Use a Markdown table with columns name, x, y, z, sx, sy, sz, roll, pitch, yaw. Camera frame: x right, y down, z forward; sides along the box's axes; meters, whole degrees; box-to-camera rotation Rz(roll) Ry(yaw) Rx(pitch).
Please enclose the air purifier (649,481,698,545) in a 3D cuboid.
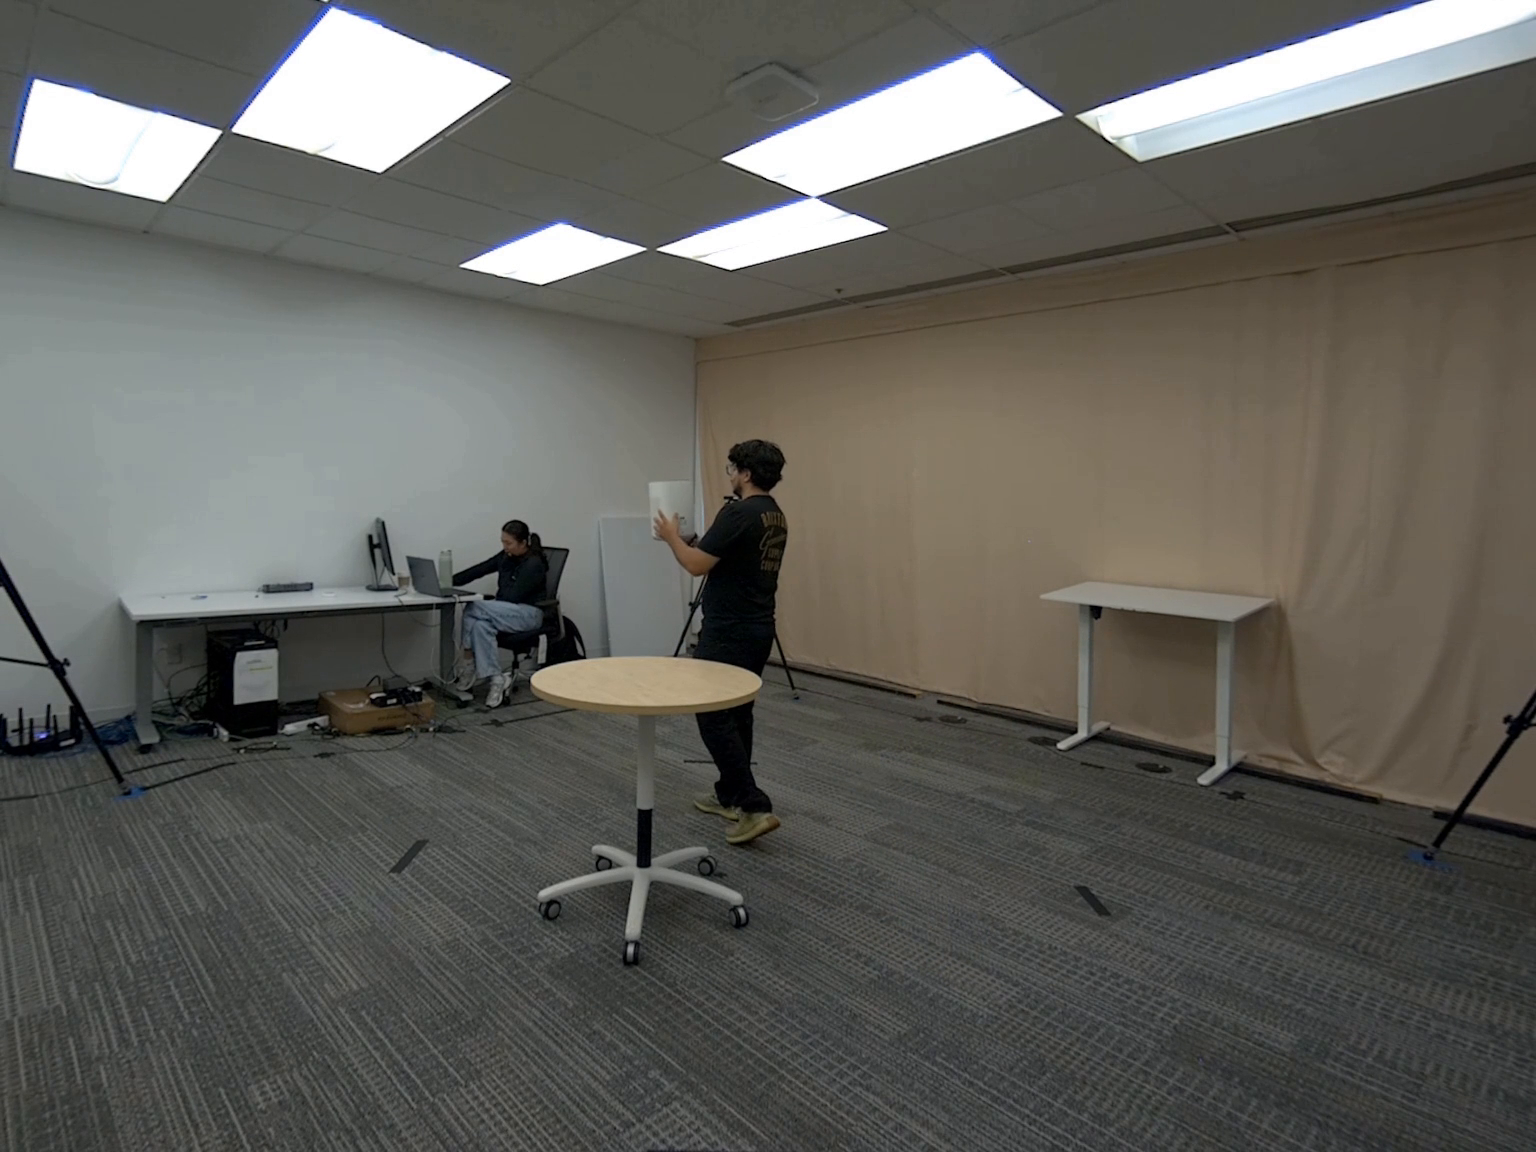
| name | x | y | z | sx | sy | sz | roll | pitch | yaw |
| --- | --- | --- | --- | --- | --- | --- | --- | --- | --- |
| air purifier | -0.432 | -0.292 | 3.748 | 0.167 | 0.265 | 0.175 | -4 | 2 | -33 |
